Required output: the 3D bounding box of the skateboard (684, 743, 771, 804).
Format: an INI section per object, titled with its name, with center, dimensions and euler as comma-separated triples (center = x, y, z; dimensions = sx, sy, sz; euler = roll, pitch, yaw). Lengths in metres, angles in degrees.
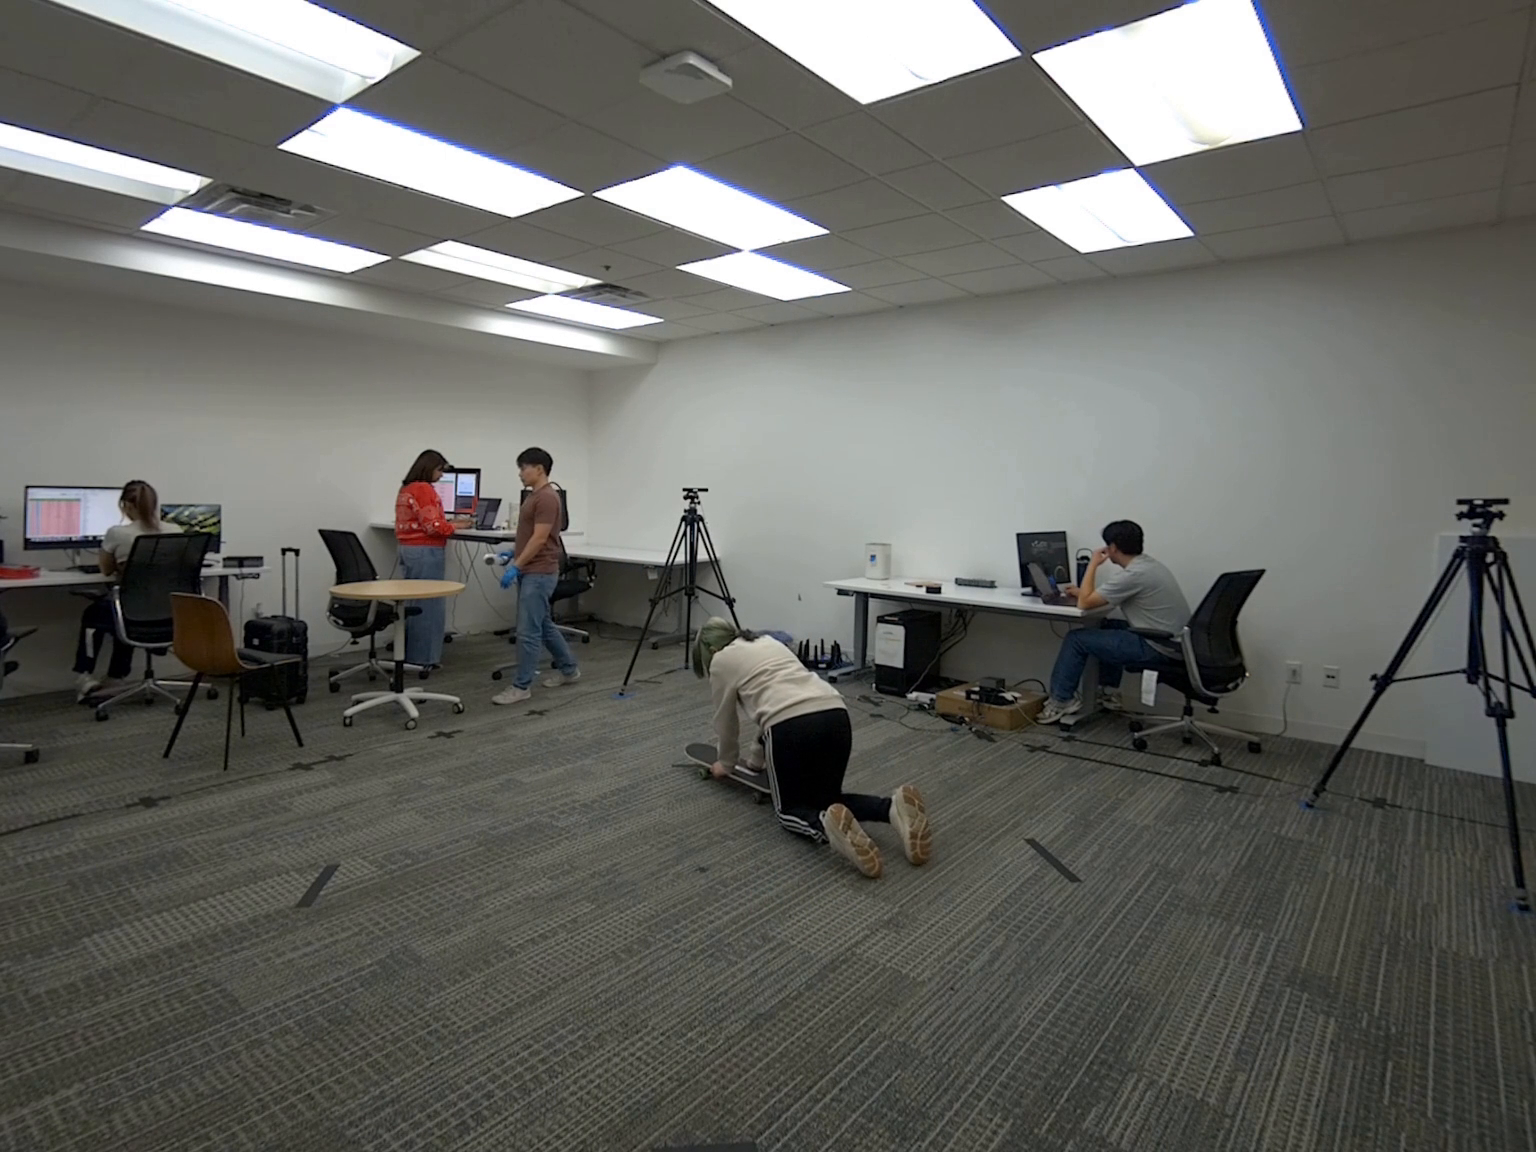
[skateboard]
center = -0.131, 0.931, 3.986
dimensions = 0.188, 0.110, 0.813
euler = -3, 7, -41
